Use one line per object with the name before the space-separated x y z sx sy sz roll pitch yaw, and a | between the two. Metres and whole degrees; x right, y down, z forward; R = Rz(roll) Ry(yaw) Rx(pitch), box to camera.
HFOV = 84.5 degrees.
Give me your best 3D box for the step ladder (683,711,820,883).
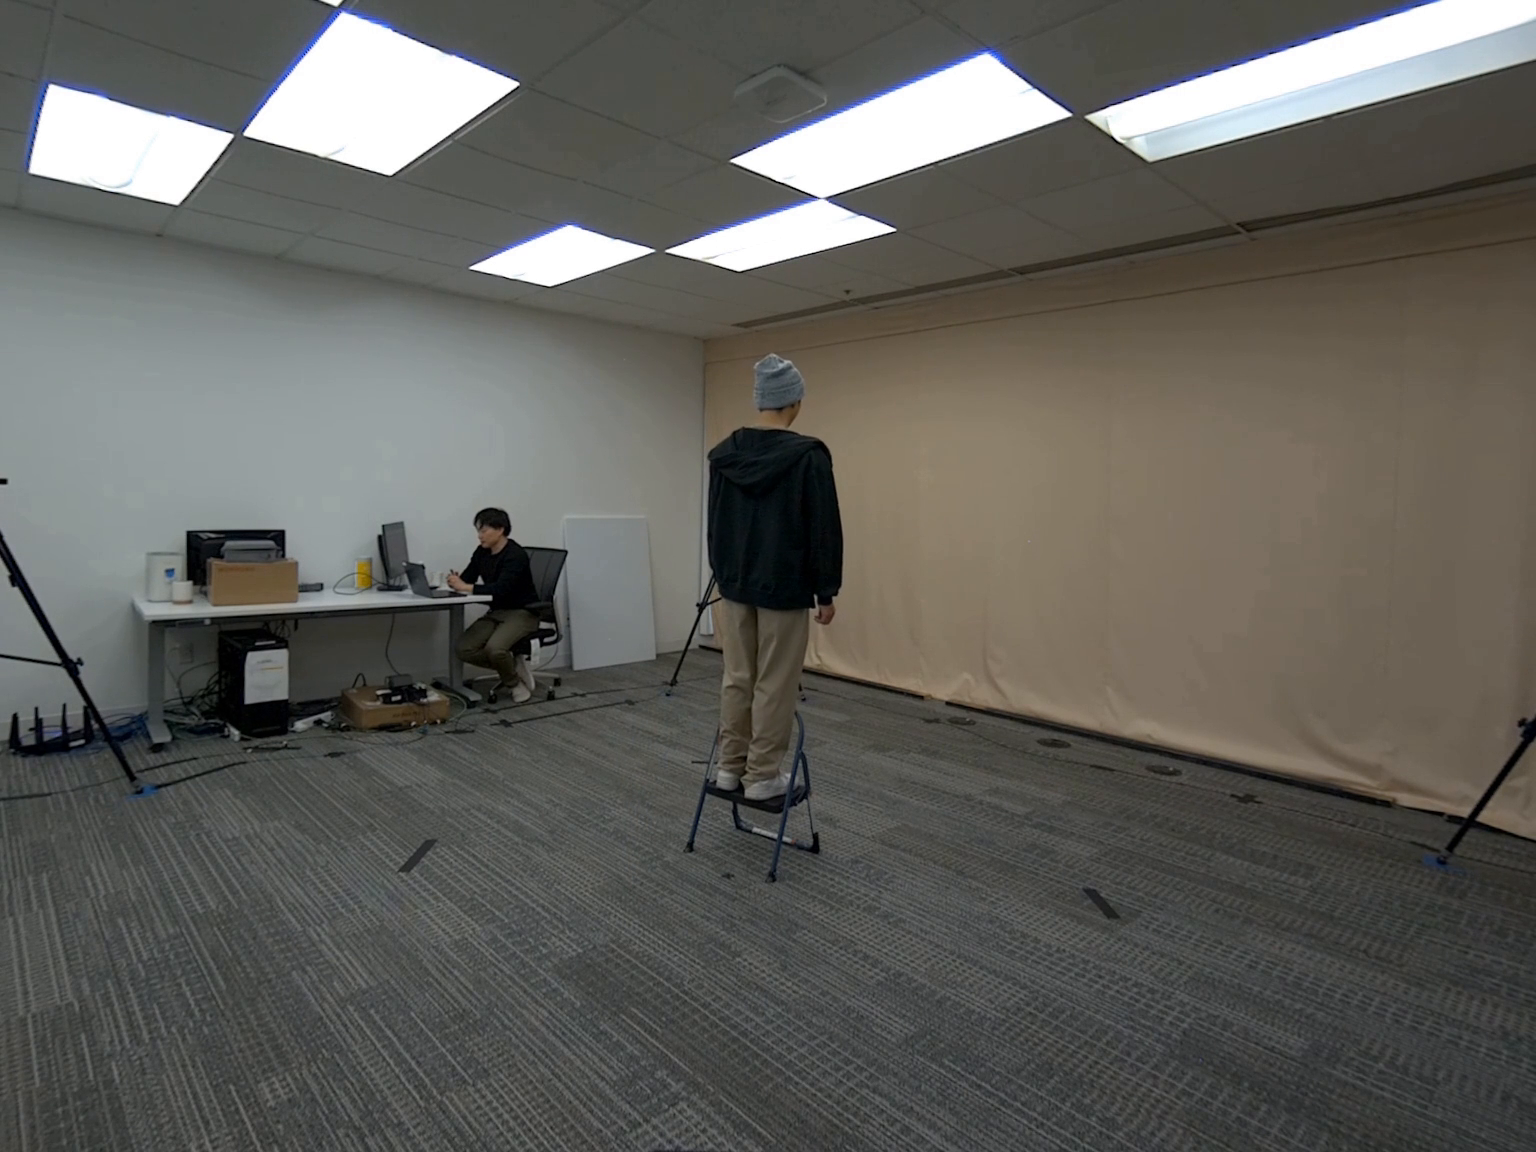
step ladder | -0.054 0.789 3.308 0.441 0.605 0.341 4 3 36
